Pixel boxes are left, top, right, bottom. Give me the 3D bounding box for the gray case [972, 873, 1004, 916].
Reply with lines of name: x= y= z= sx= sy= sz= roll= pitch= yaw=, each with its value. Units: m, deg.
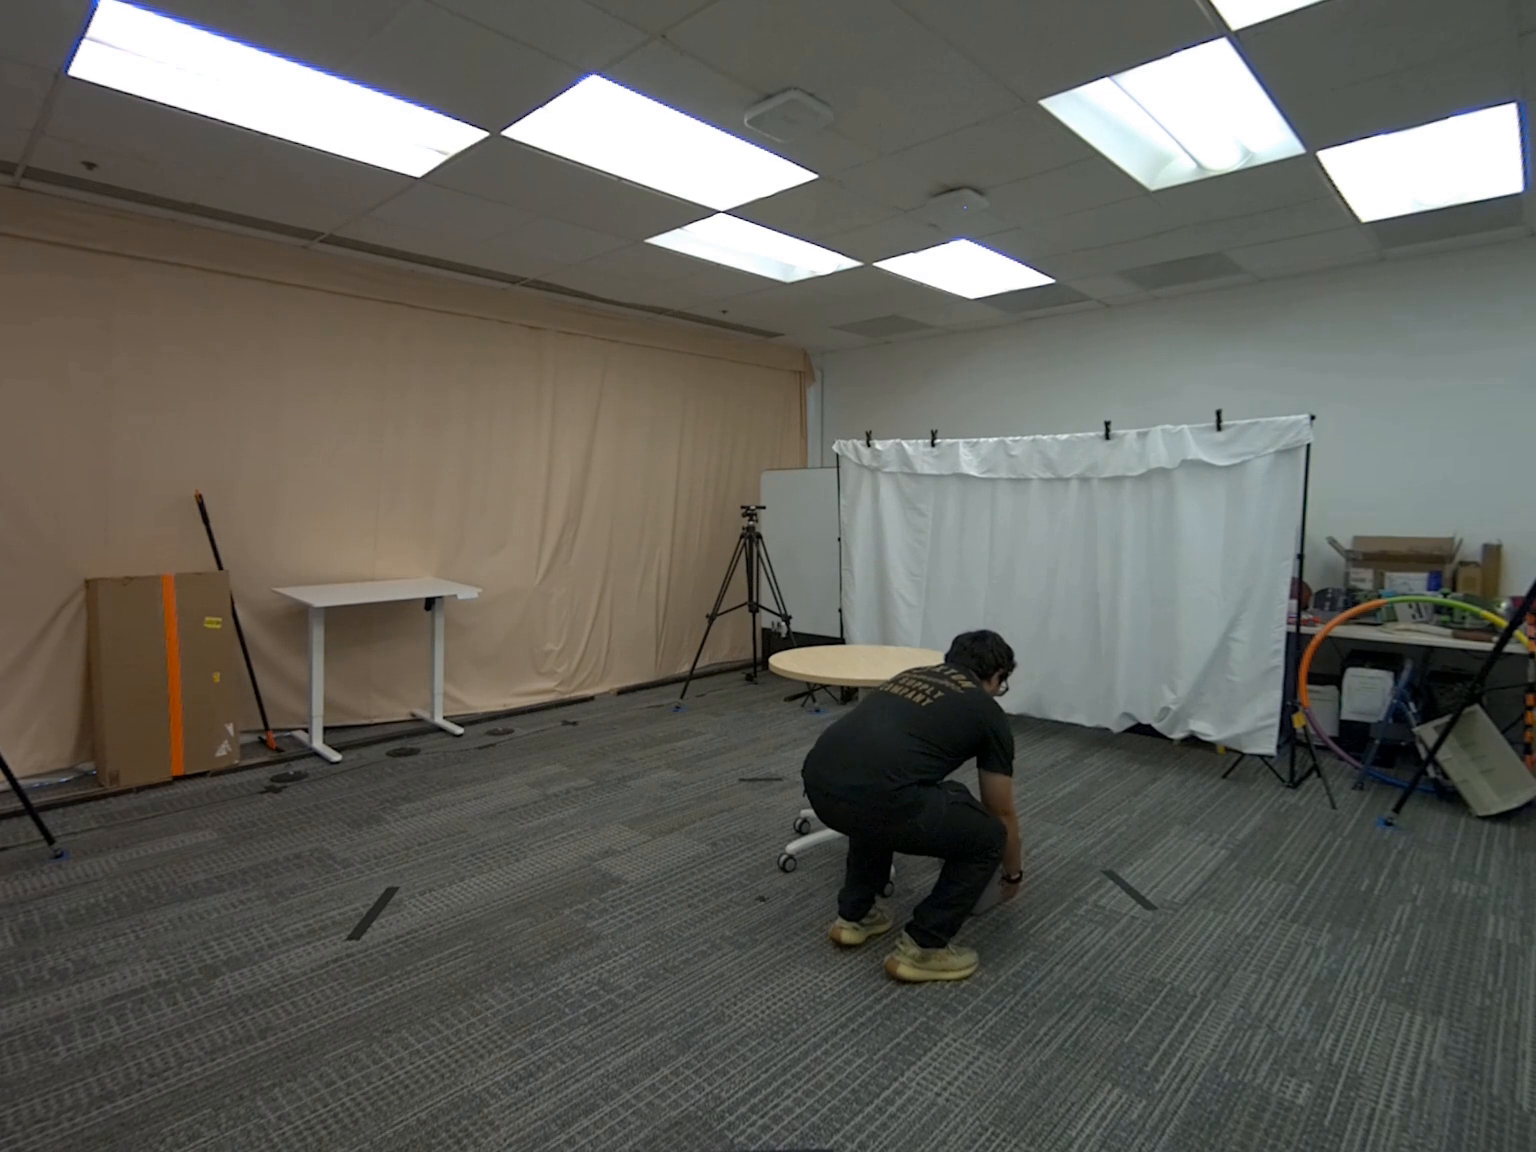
gray case: x=0.778 y=1.012 z=2.930 sx=0.249 sy=0.259 sz=0.108 roll=-2 pitch=14 yaw=-42
